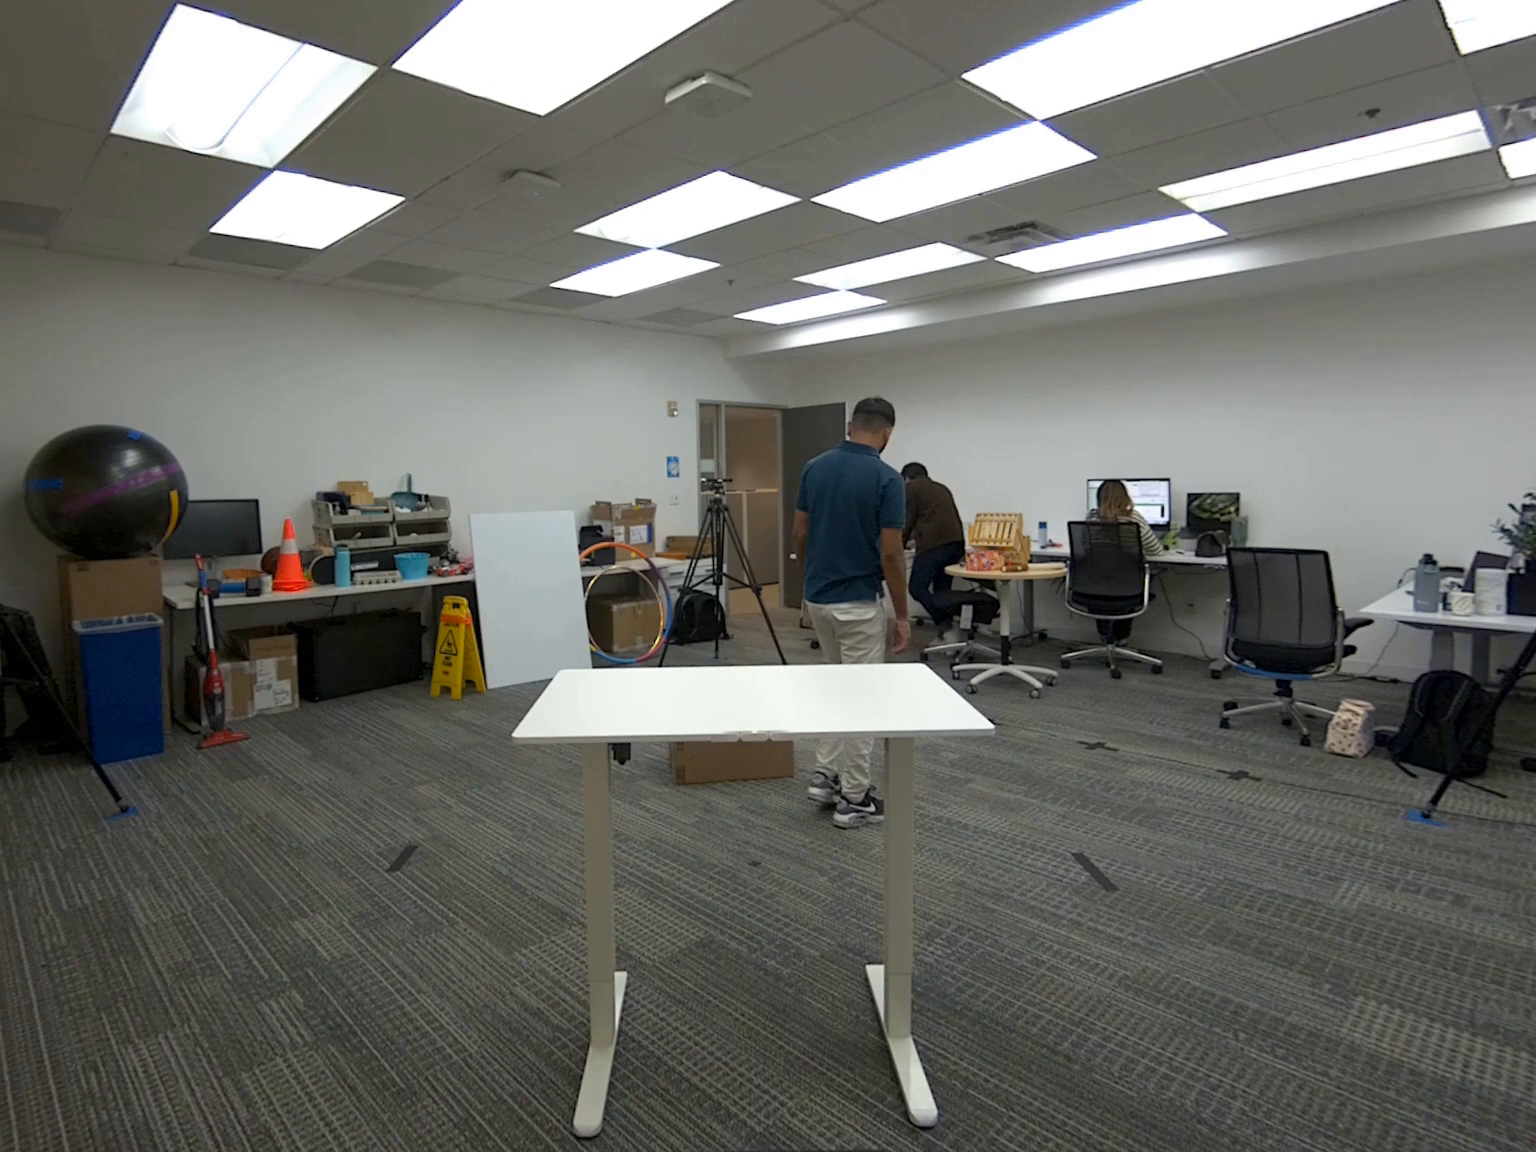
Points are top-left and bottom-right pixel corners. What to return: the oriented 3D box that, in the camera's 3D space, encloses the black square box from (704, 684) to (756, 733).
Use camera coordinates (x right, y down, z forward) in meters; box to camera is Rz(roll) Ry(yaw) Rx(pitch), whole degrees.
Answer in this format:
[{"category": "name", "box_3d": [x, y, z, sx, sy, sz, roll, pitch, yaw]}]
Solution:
[{"category": "black square box", "box_3d": [-0.188, 0.632, 4.139, 0.215, 0.155, 0.231, -3, 7, -8]}]
